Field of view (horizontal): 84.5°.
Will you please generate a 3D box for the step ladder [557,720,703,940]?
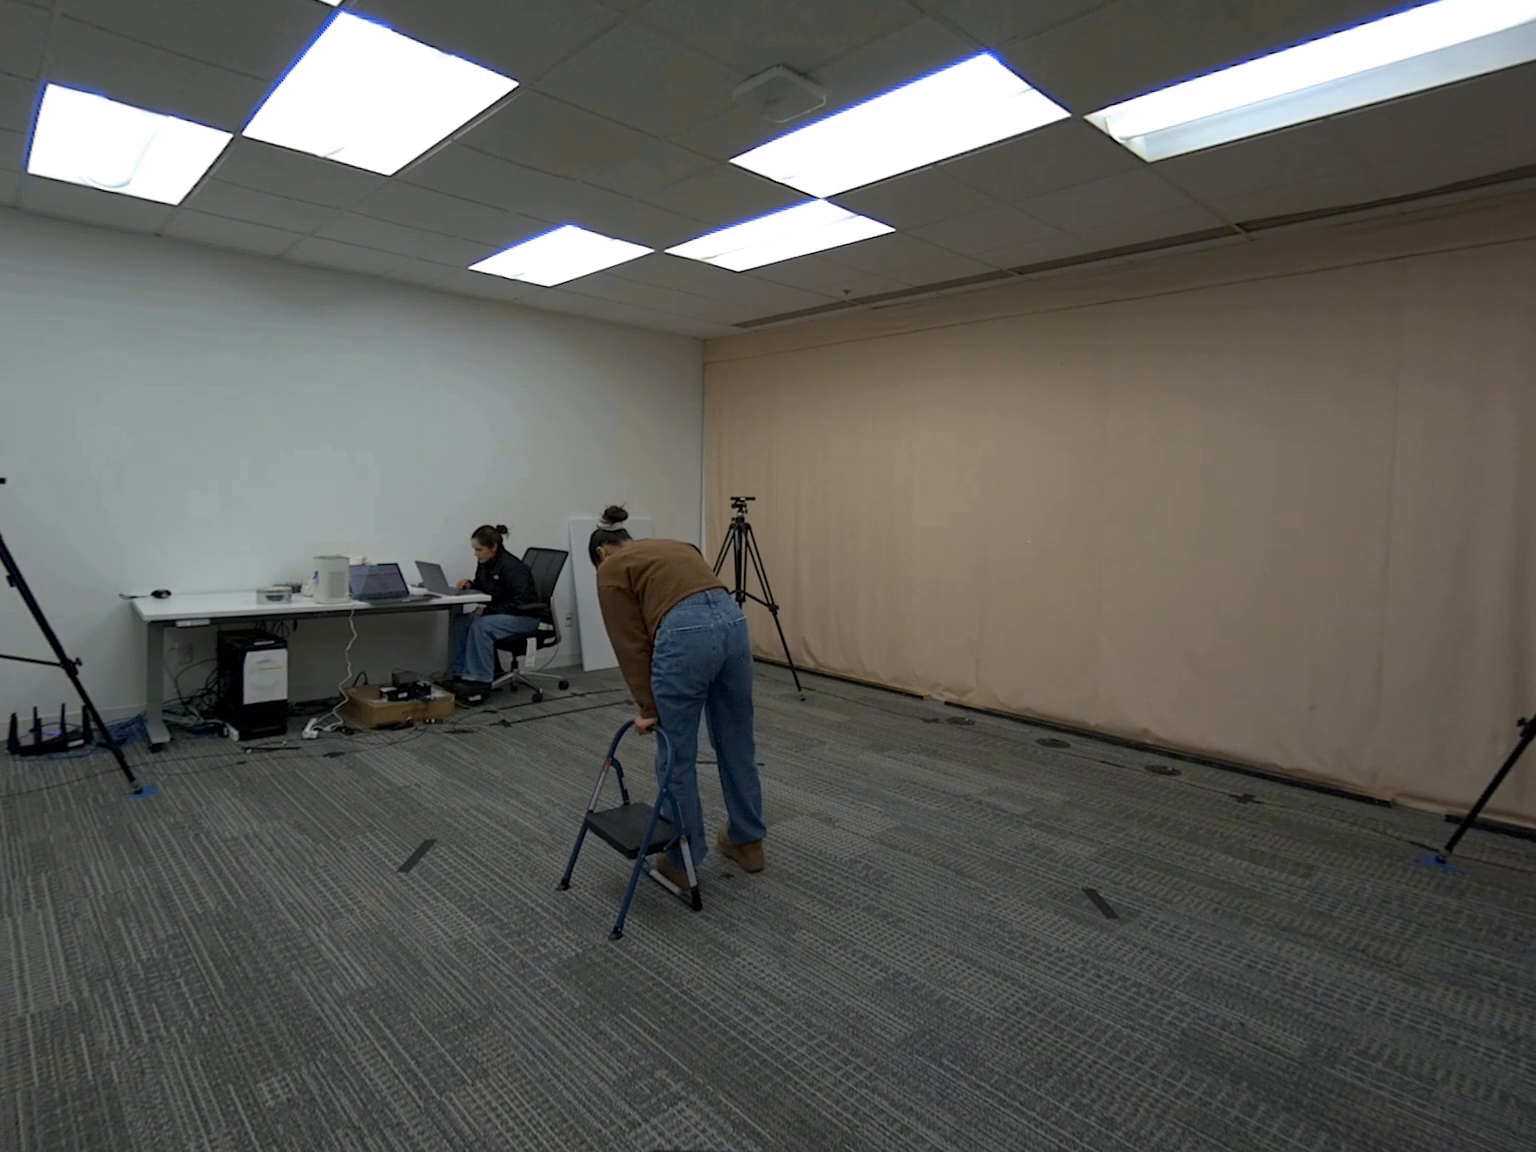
[{"bbox_3d":[-0.480,0.816,2.882,0.341,0.605,0.441,-1,4,-37],"label":"step ladder"}]
